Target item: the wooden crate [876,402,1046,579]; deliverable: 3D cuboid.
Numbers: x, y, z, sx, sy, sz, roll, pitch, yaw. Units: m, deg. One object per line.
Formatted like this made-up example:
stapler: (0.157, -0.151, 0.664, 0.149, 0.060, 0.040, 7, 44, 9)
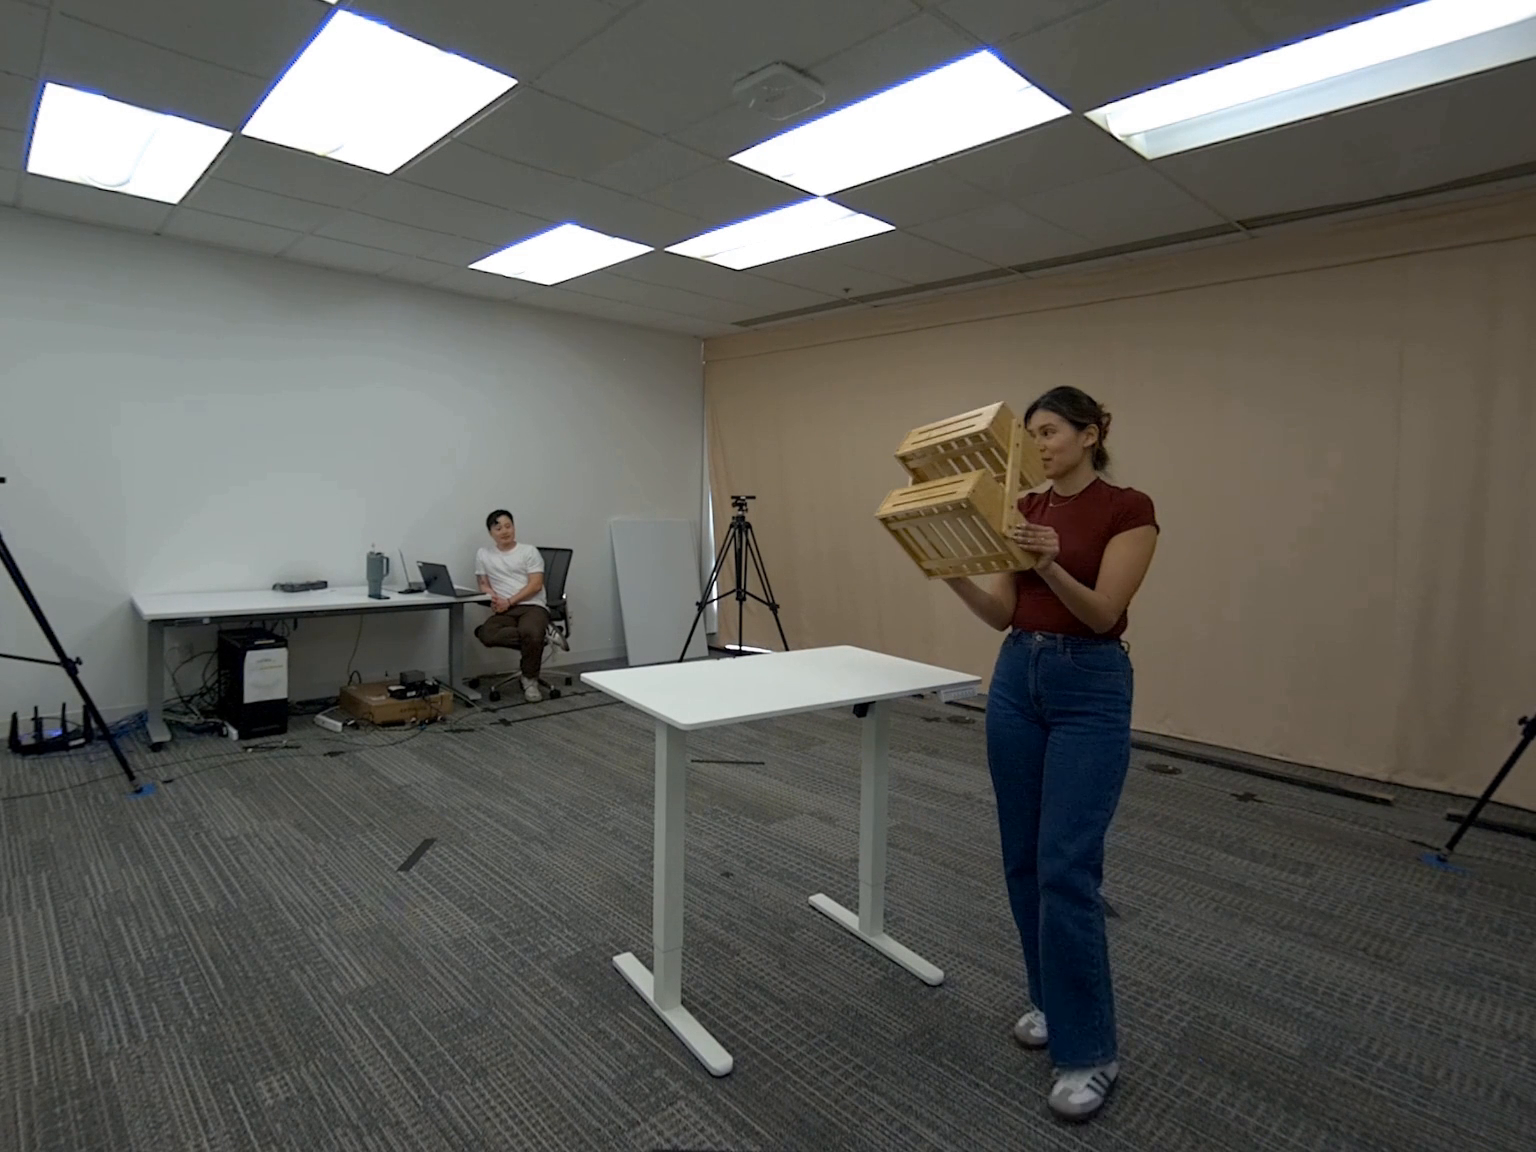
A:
wooden crate: (0.470, -0.184, 2.005, 0.296, 0.274, 0.330, 47, -28, -20)
